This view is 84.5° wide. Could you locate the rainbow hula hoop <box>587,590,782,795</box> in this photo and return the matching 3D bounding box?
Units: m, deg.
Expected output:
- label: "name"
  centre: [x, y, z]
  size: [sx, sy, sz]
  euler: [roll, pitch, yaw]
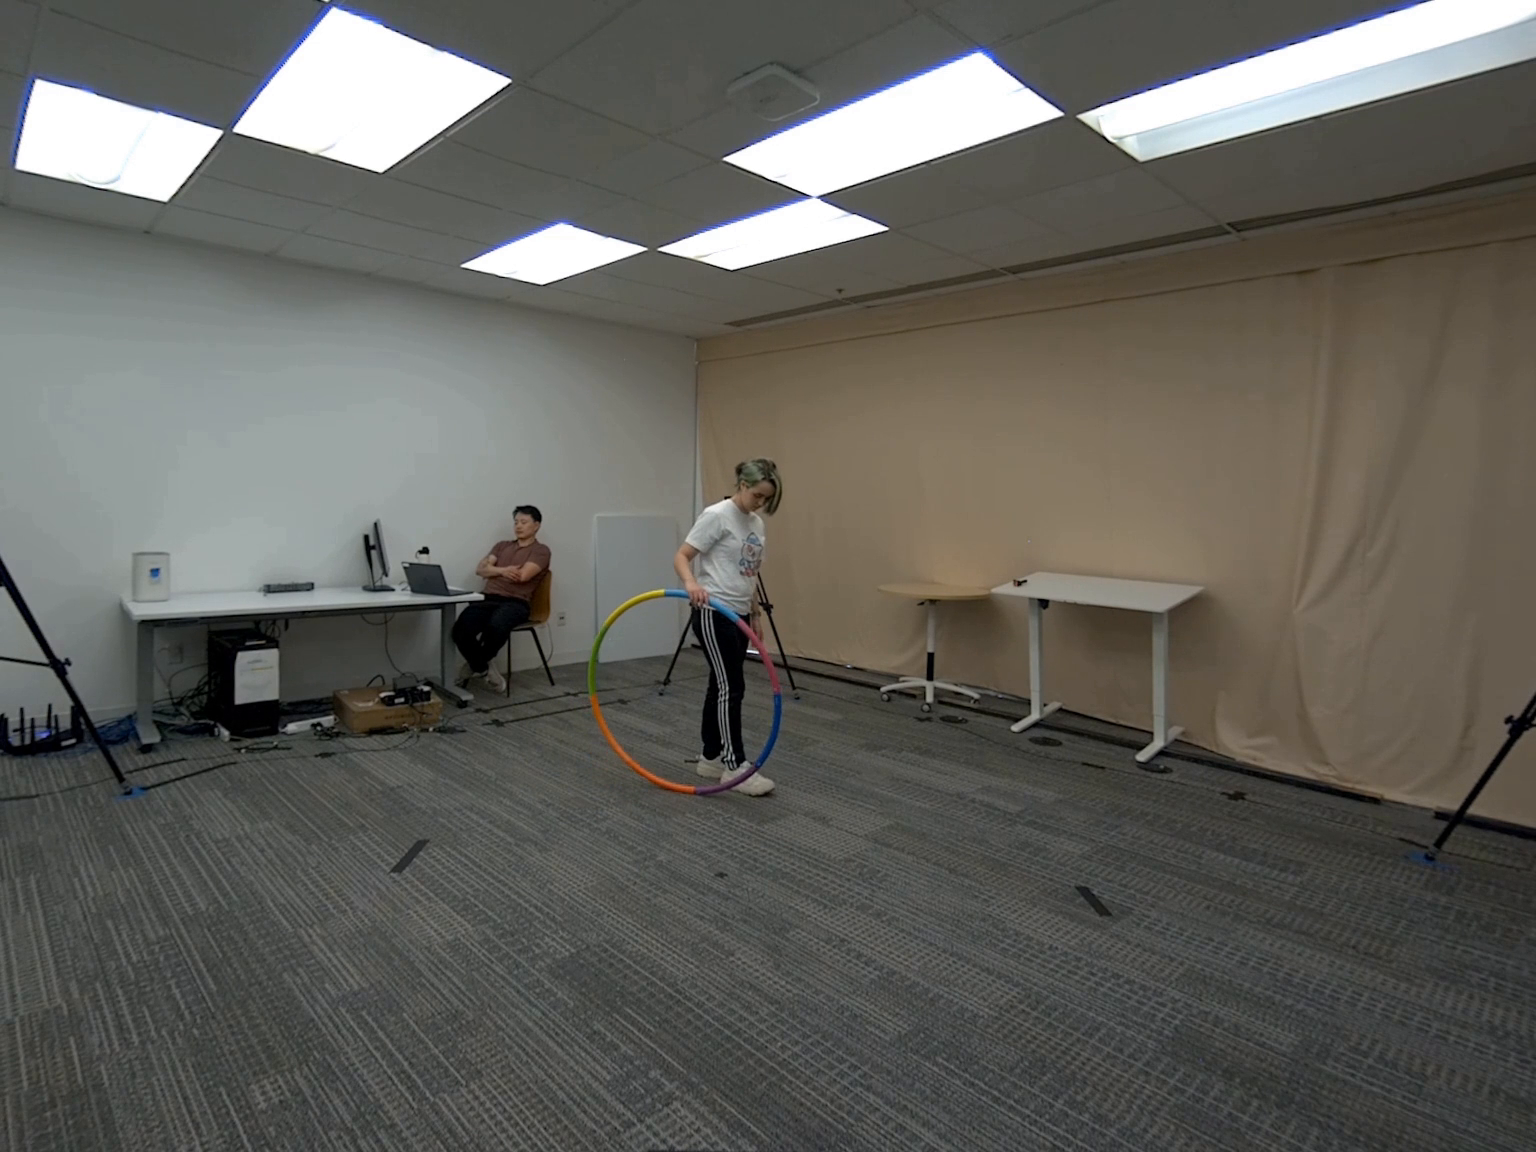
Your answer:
- label: "rainbow hula hoop"
  centre: [-0.407, 0.548, 3.883]
  size: [0.995, 0.970, 0.035]
  euler: [3, 12, 22]
